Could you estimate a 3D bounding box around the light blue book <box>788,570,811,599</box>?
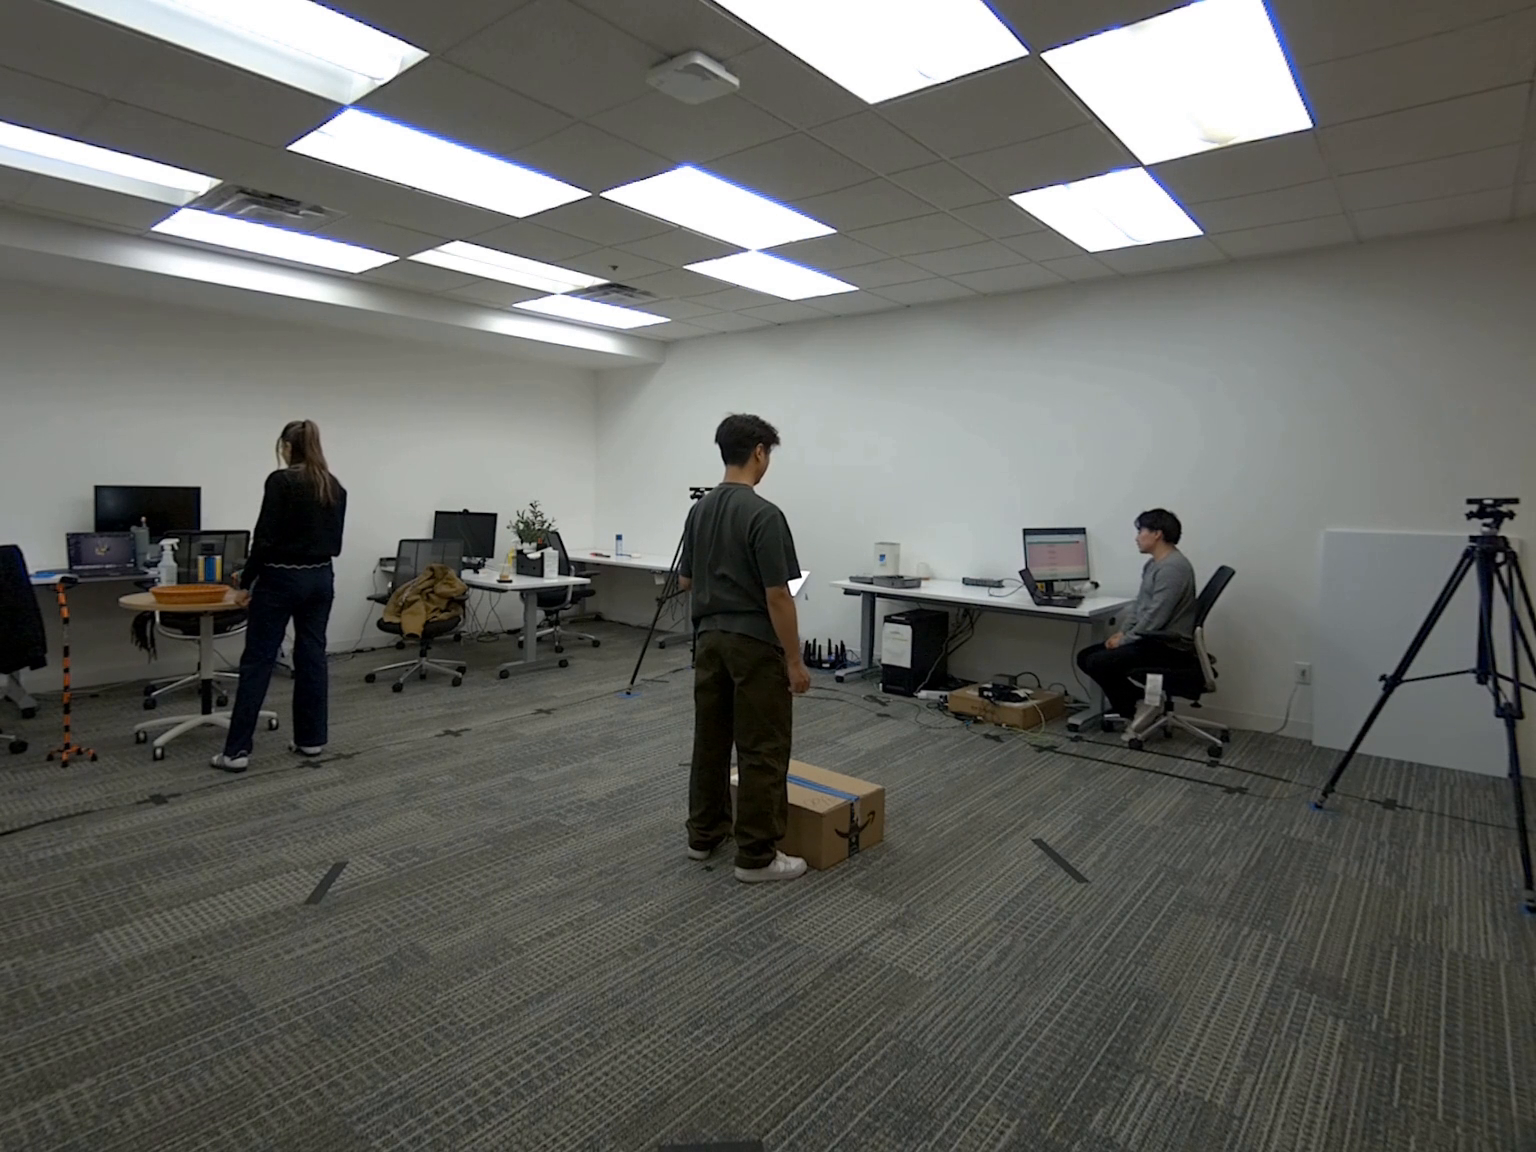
[{"bbox_3d":[0.047,0.043,3.409,0.195,0.058,0.261,5,20,15],"label":"light blue book"}]
